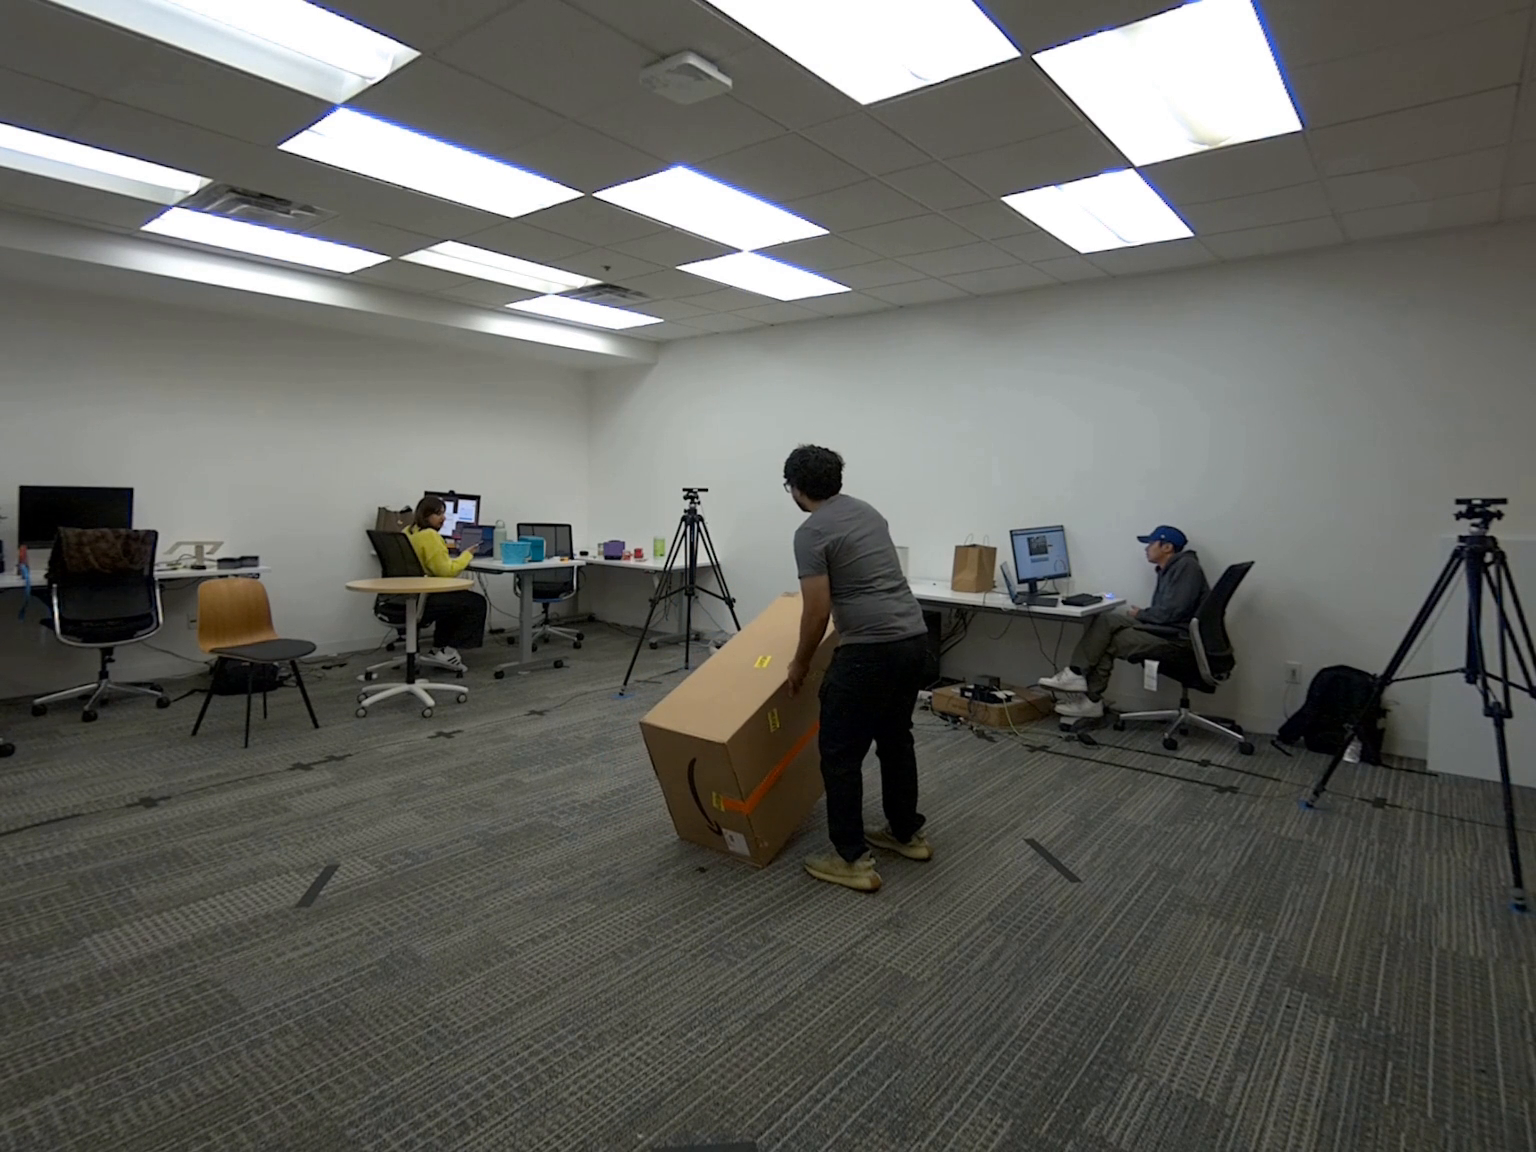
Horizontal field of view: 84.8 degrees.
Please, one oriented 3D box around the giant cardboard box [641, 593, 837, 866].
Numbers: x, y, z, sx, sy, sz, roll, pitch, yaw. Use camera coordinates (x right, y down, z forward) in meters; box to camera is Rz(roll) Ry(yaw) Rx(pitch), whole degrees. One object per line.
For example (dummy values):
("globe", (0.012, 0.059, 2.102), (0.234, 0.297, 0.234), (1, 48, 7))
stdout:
("giant cardboard box", (0.017, 0.574, 3.498), (0.440, 0.563, 1.018), (4, 30, 37))
